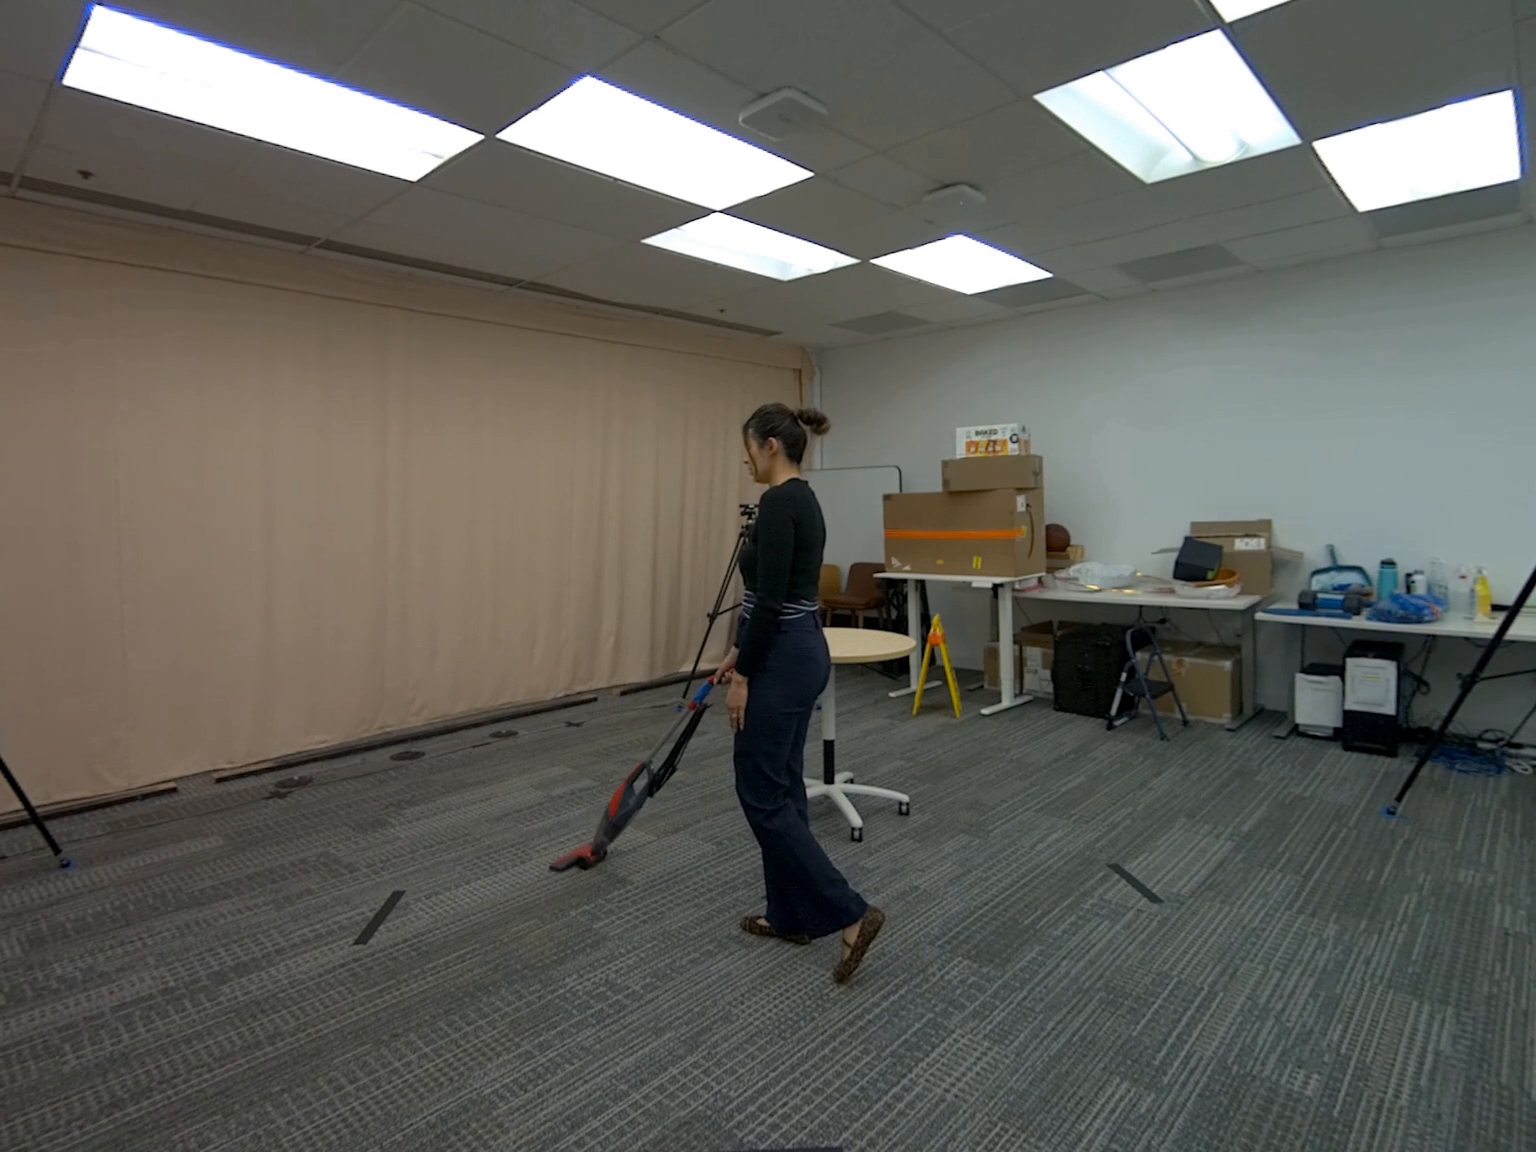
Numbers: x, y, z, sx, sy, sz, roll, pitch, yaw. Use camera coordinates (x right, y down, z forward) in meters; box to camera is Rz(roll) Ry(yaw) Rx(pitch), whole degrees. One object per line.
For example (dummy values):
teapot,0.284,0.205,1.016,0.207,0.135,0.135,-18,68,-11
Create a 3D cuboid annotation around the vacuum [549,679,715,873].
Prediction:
vacuum,-0.428,0.731,3.147,0.147,1.052,0.246,46,22,19
